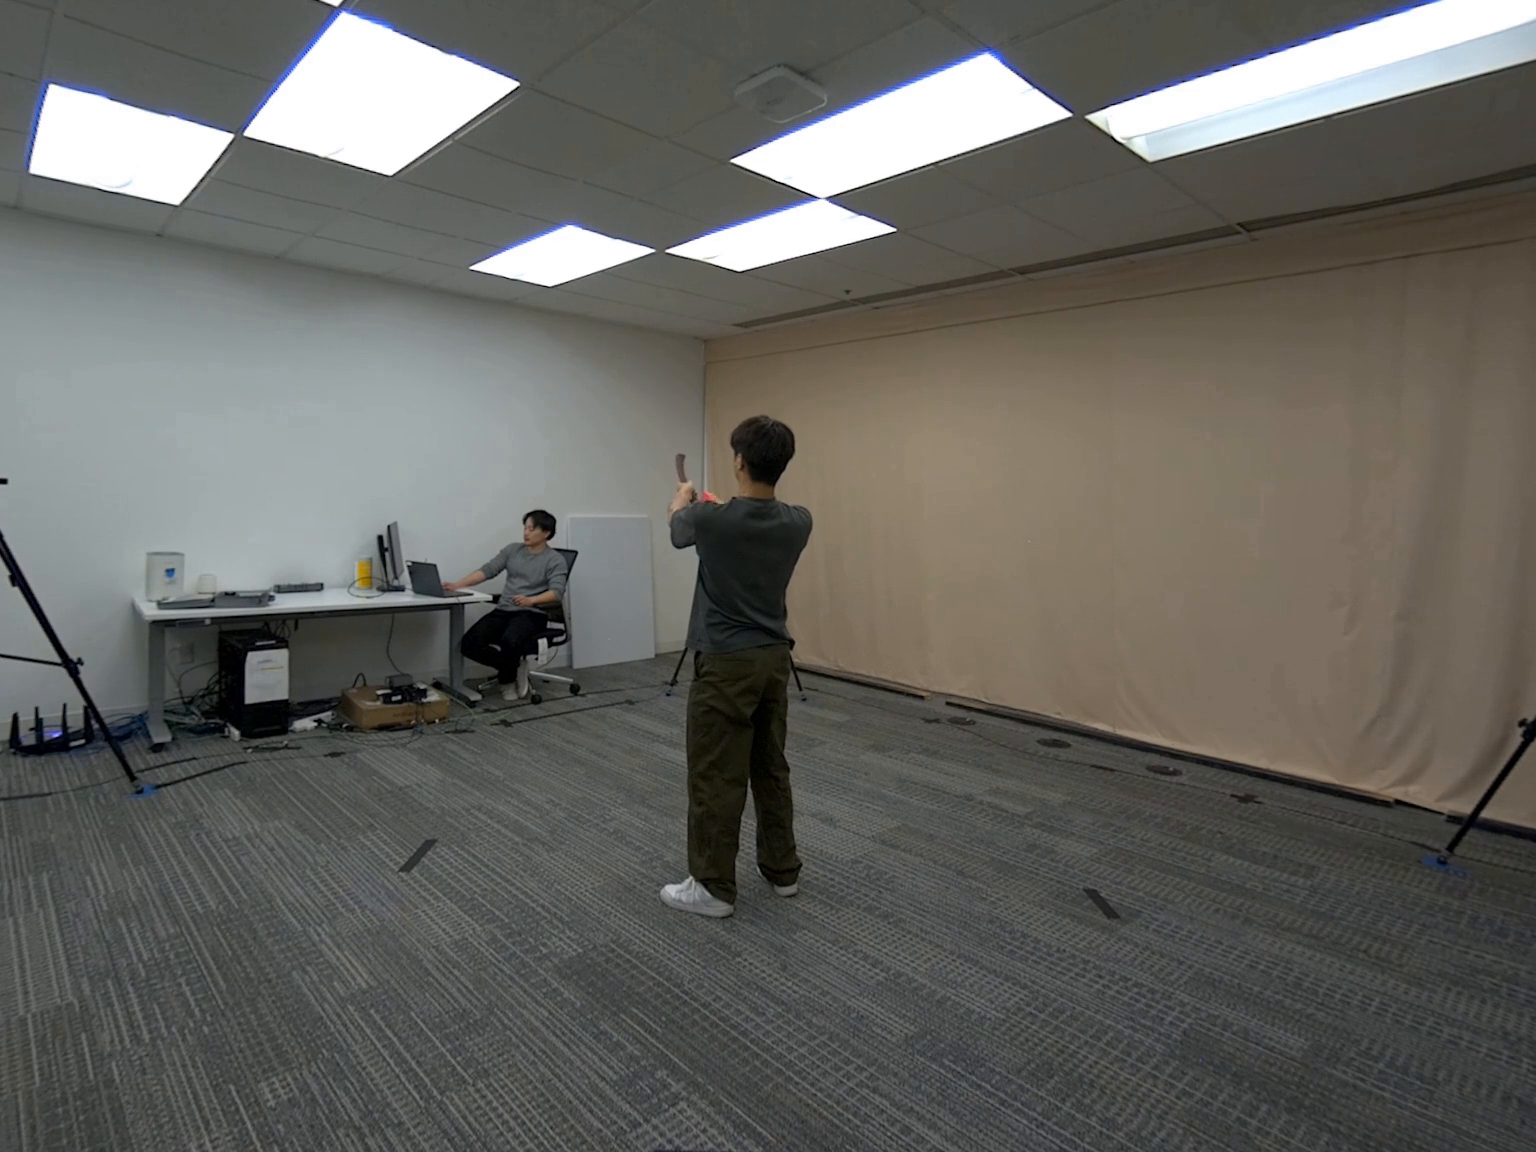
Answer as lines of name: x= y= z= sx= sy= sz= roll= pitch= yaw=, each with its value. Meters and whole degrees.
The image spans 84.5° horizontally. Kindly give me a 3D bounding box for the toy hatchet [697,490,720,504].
toy hatchet: x=-0.281 y=-0.367 z=3.328 sx=0.131 sy=0.275 sz=0.029 roll=-9 pitch=-21 yaw=-4
